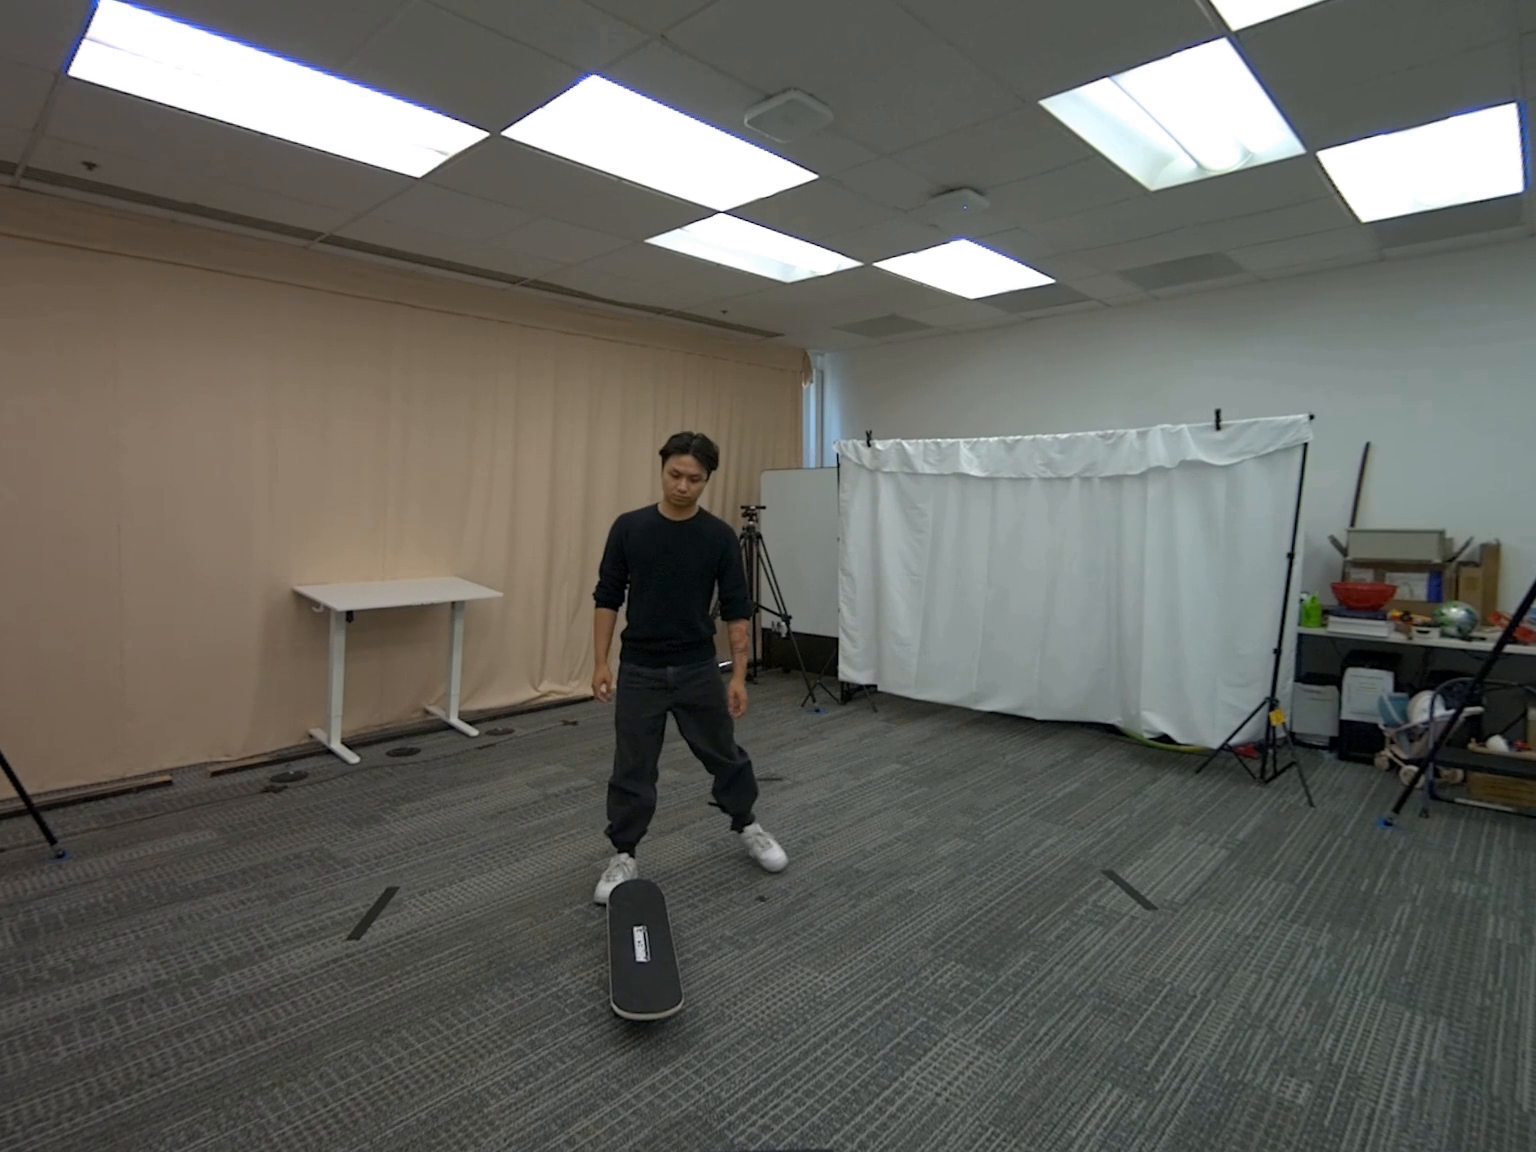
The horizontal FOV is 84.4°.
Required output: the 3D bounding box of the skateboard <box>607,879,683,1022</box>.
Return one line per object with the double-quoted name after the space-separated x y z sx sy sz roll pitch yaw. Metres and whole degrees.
-0.379 1.128 2.514 0.191 0.110 0.796 -1 4 -12 "skateboard"
